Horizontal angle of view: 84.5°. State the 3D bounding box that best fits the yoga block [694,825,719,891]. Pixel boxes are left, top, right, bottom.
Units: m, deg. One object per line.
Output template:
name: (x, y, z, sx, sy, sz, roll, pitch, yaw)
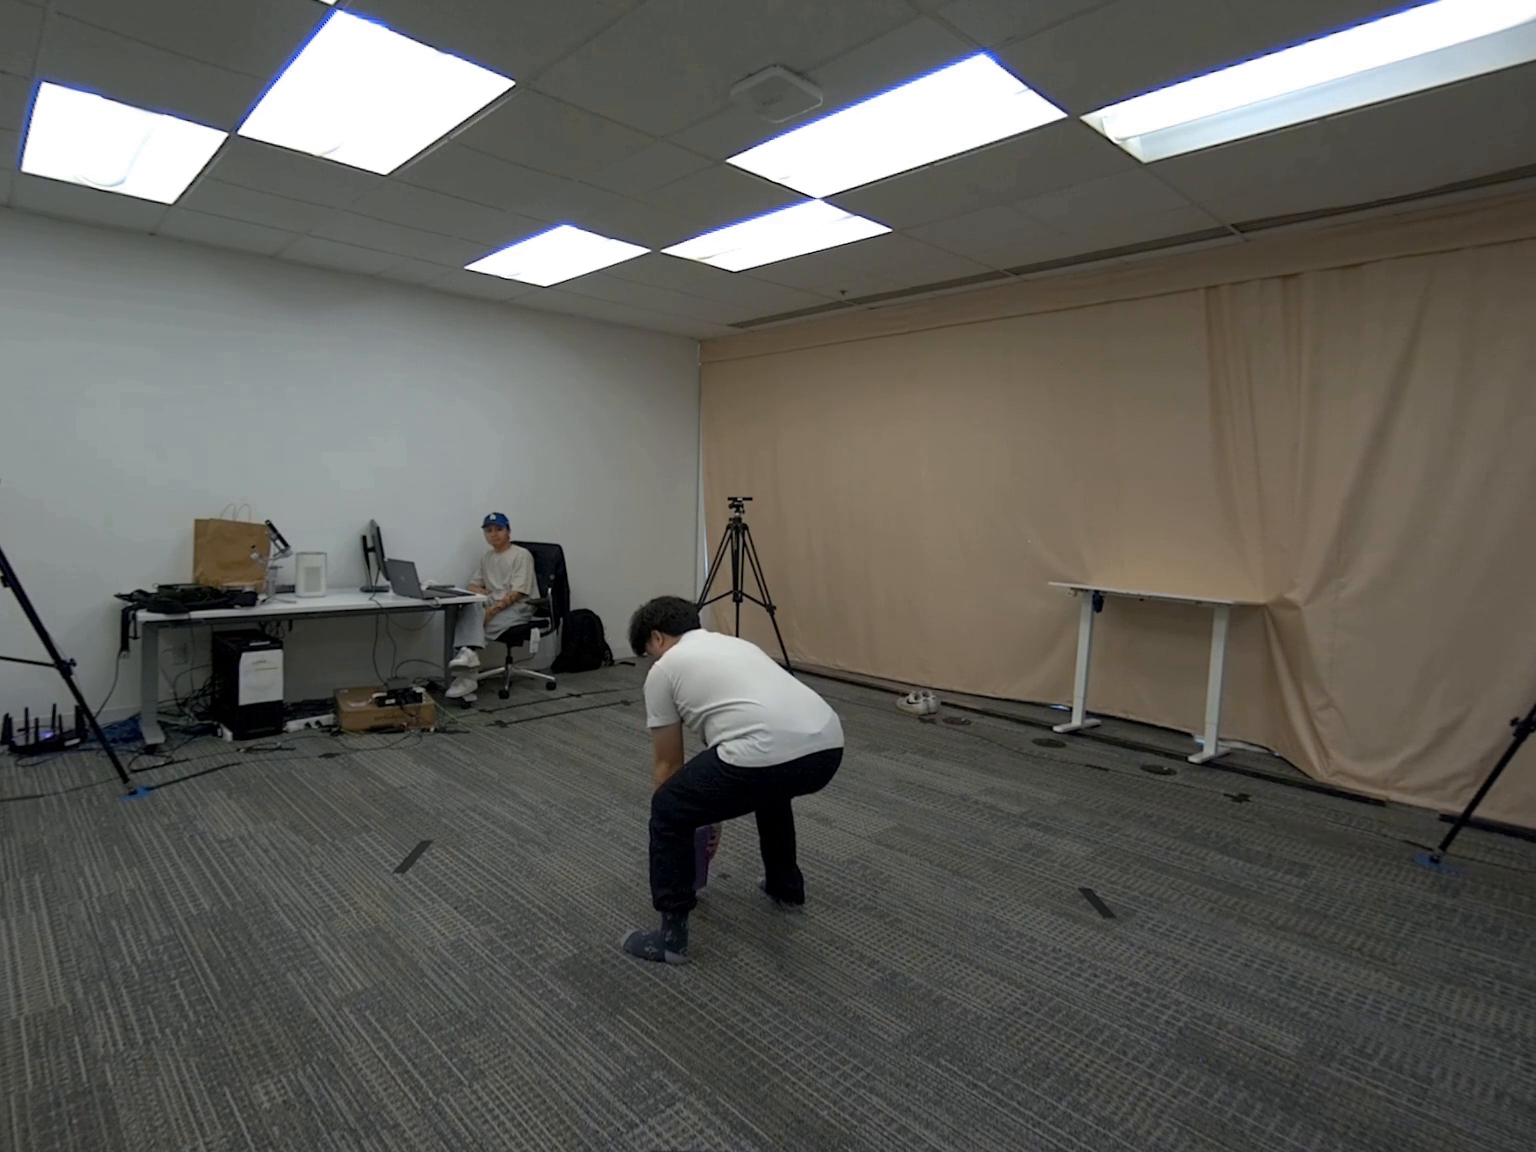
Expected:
yoga block: (-0.276, 0.961, 2.891, 0.078, 0.228, 0.145, 6, 6, 42)
